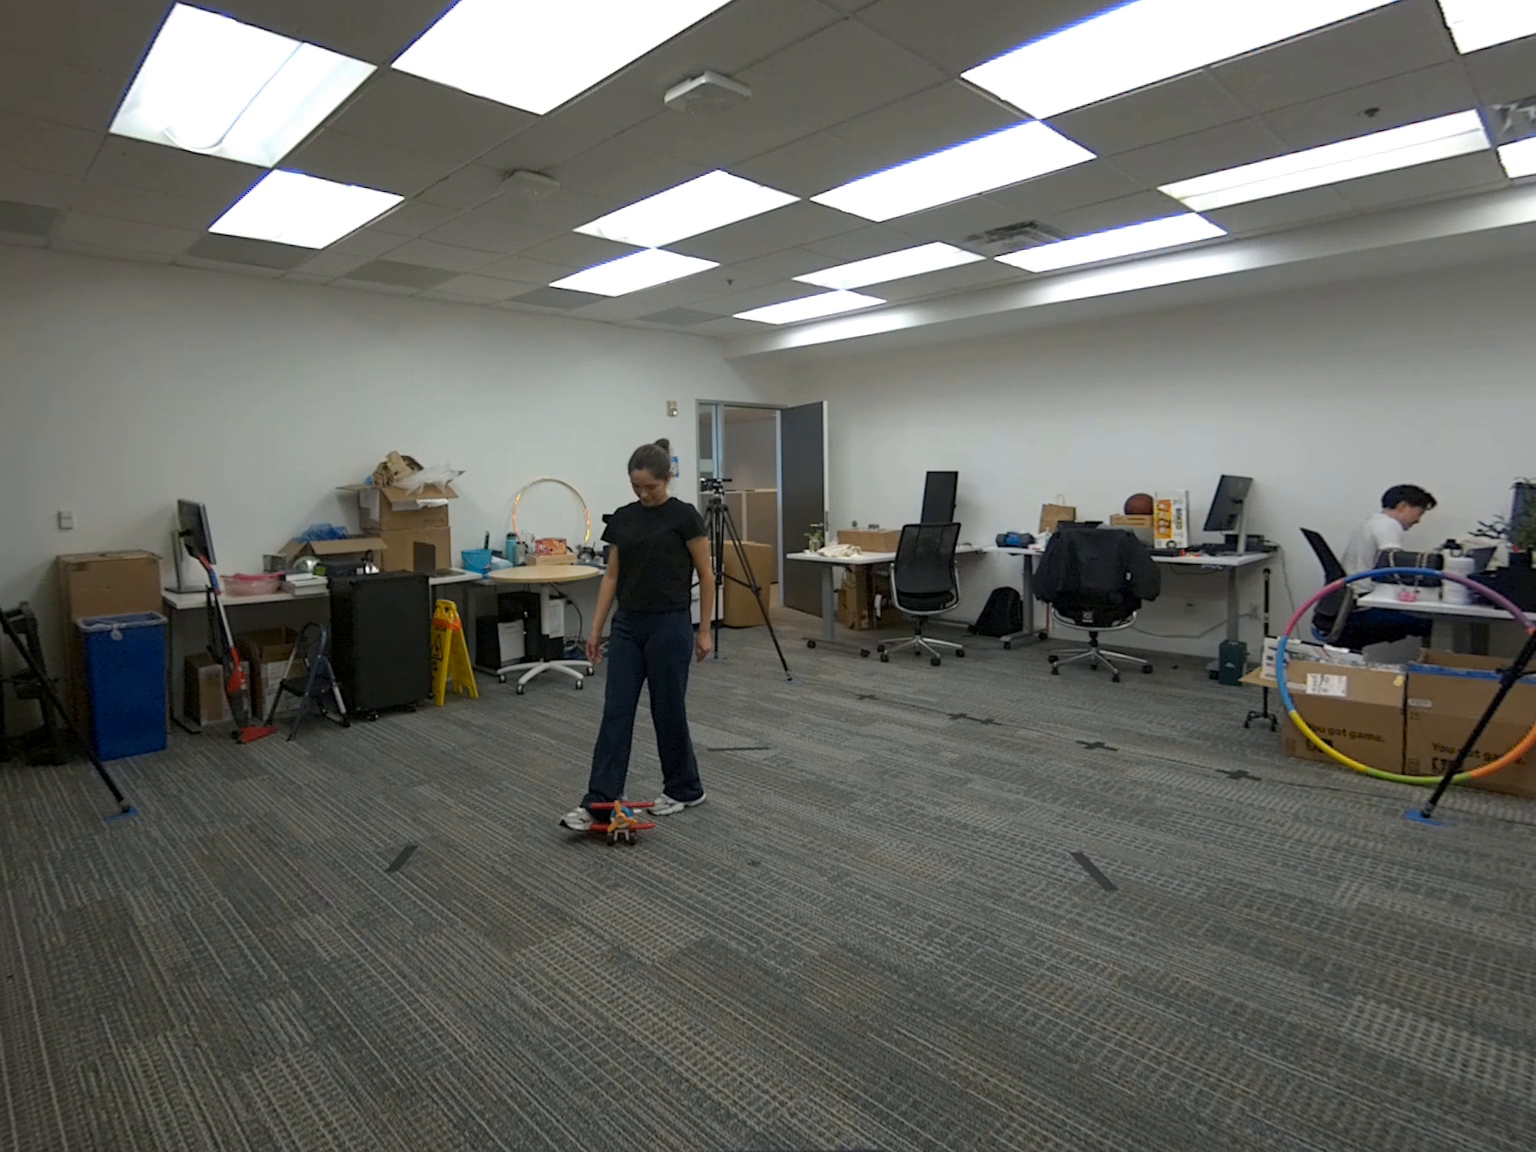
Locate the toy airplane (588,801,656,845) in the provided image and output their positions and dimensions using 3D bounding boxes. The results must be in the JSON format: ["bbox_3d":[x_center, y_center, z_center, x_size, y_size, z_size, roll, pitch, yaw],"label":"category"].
[{"bbox_3d":[-0.588,0.950,3.374,0.245,0.156,0.266,-2,4,-30],"label":"toy airplane"}]
